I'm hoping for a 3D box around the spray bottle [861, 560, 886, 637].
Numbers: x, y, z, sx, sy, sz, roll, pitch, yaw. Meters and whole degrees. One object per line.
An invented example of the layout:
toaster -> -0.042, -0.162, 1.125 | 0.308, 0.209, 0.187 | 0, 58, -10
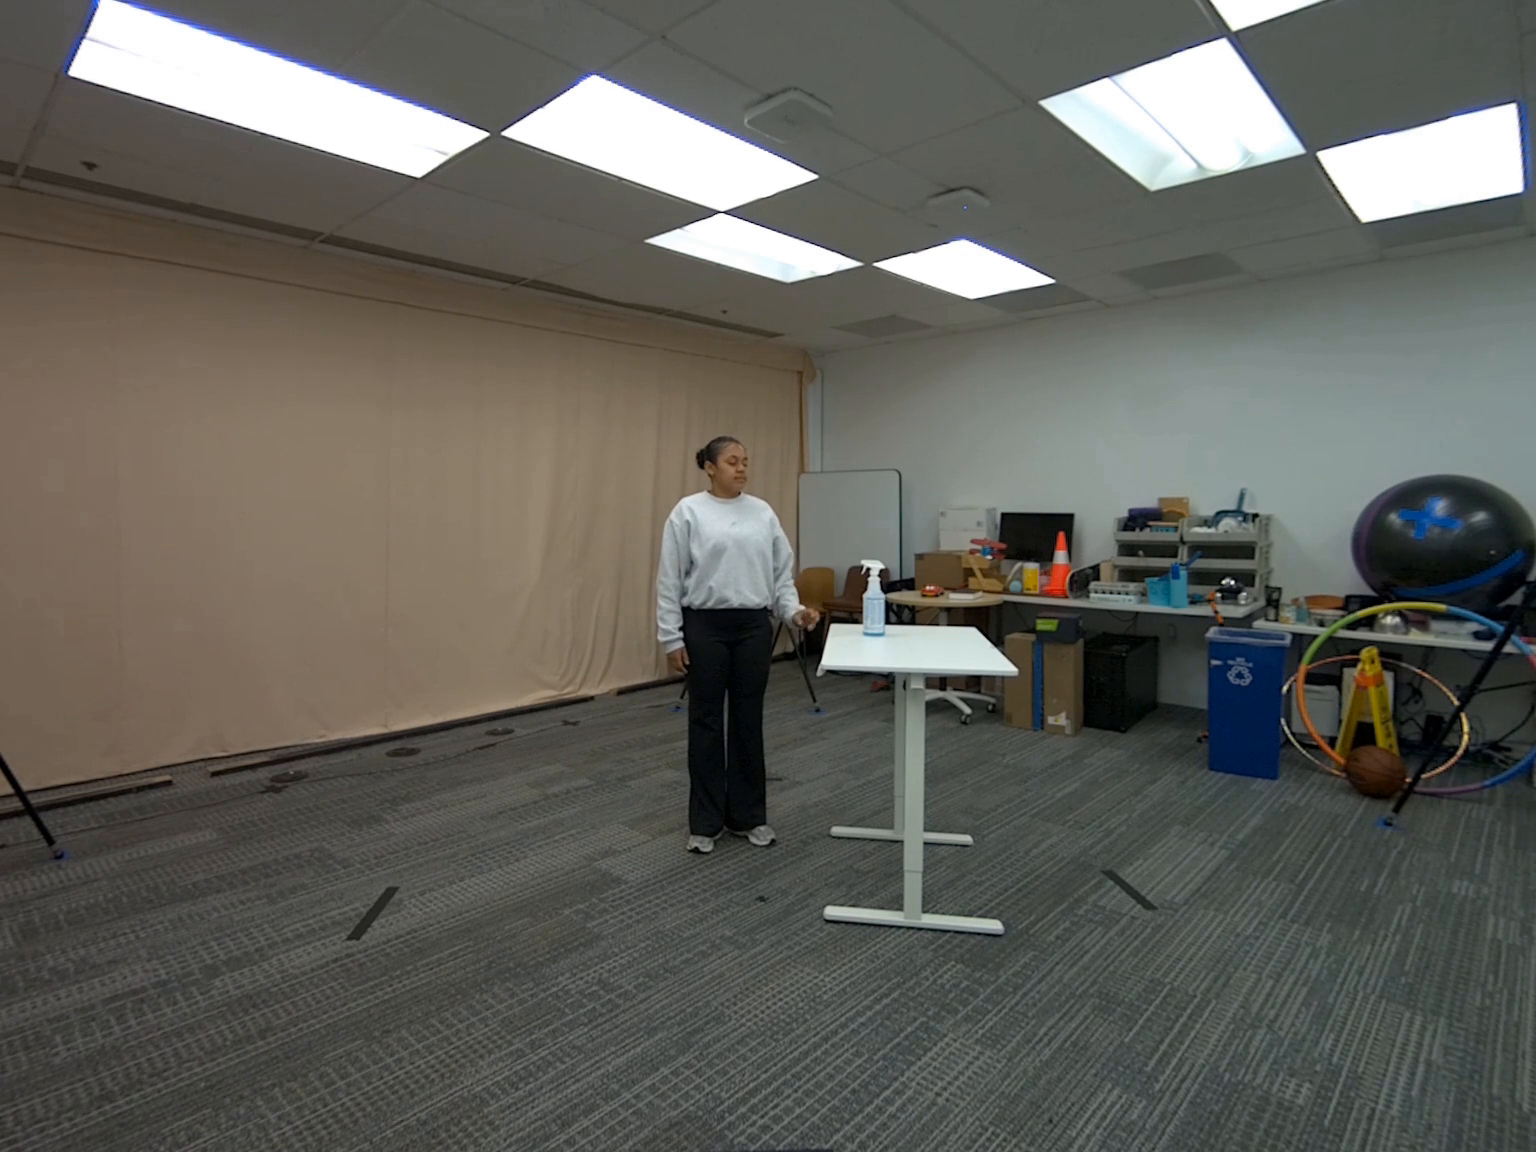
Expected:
spray bottle -> 0.419, 0.088, 3.317 | 0.092, 0.297, 0.085 | 0, 2, 28
